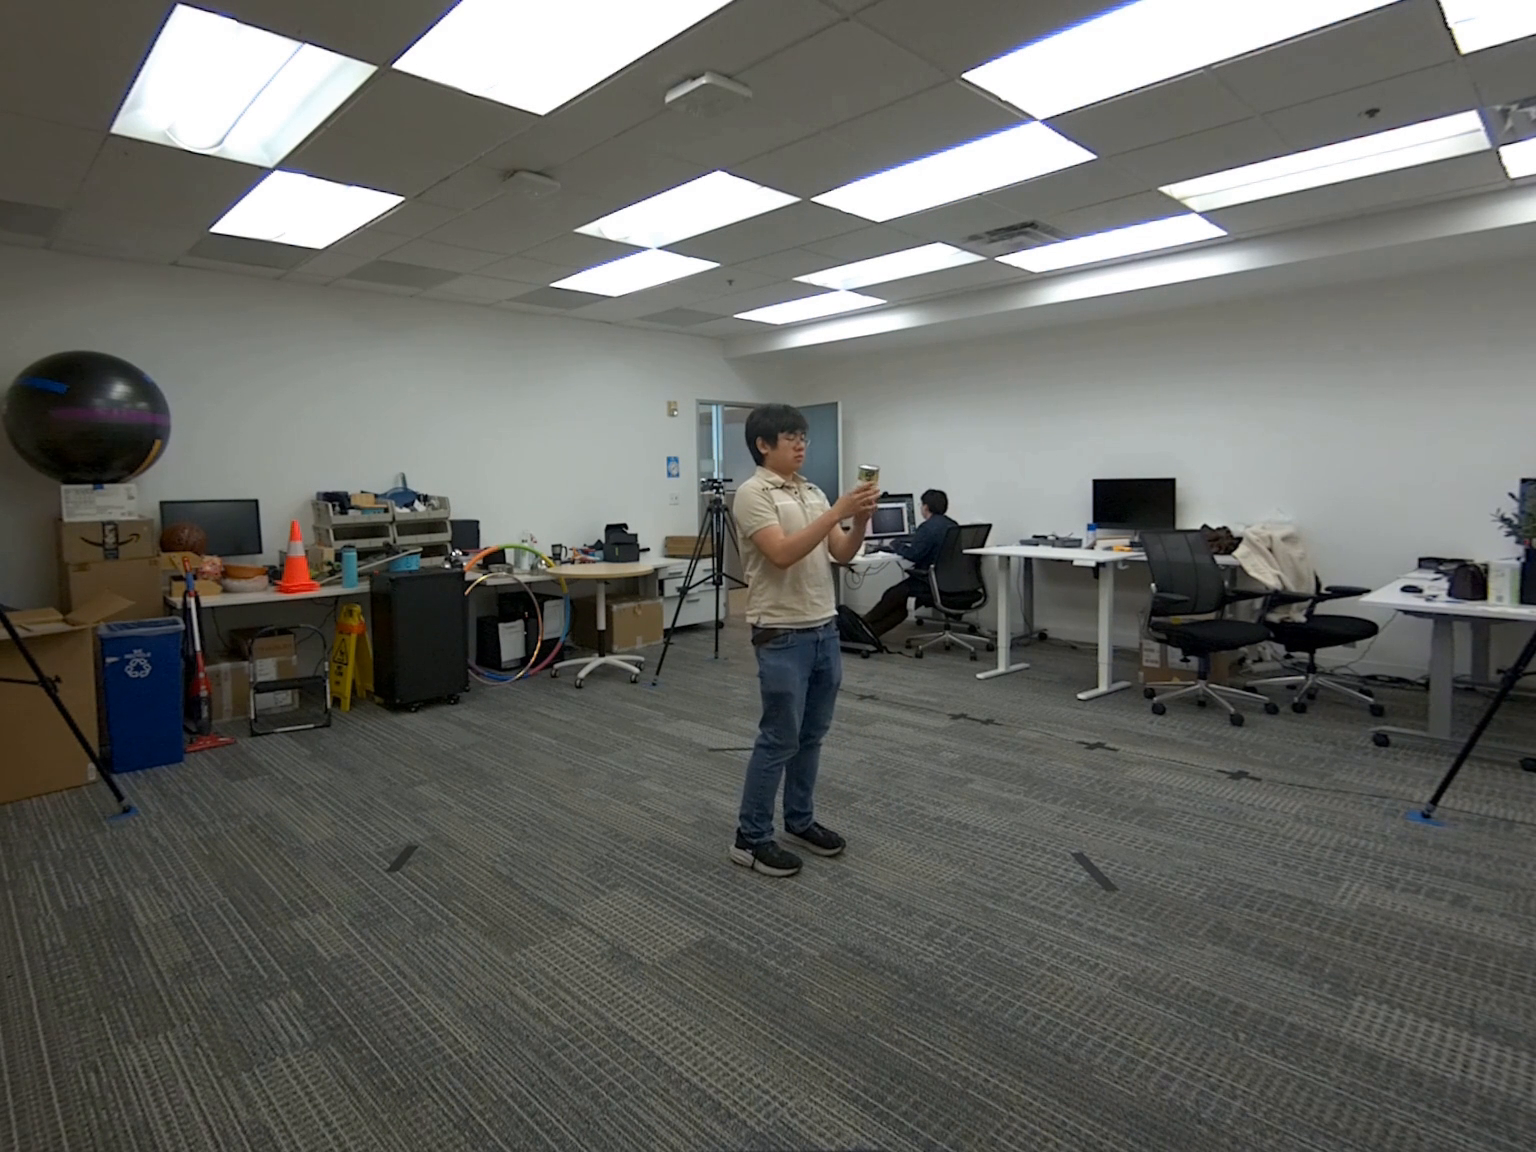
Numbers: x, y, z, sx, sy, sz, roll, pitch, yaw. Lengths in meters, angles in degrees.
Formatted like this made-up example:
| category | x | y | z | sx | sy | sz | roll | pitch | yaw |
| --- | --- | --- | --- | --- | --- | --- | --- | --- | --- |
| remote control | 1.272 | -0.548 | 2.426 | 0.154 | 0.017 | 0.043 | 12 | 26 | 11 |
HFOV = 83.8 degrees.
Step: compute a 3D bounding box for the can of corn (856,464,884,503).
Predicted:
| category | x | y | z | sx | sy | sz | roll | pitch | yaw |
| --- | --- | --- | --- | --- | --- | --- | --- | --- | --- |
| can of corn | 0.348 | -0.320 | 2.950 | 0.074 | 0.109 | 0.075 | 4 | 17 | -3 |
